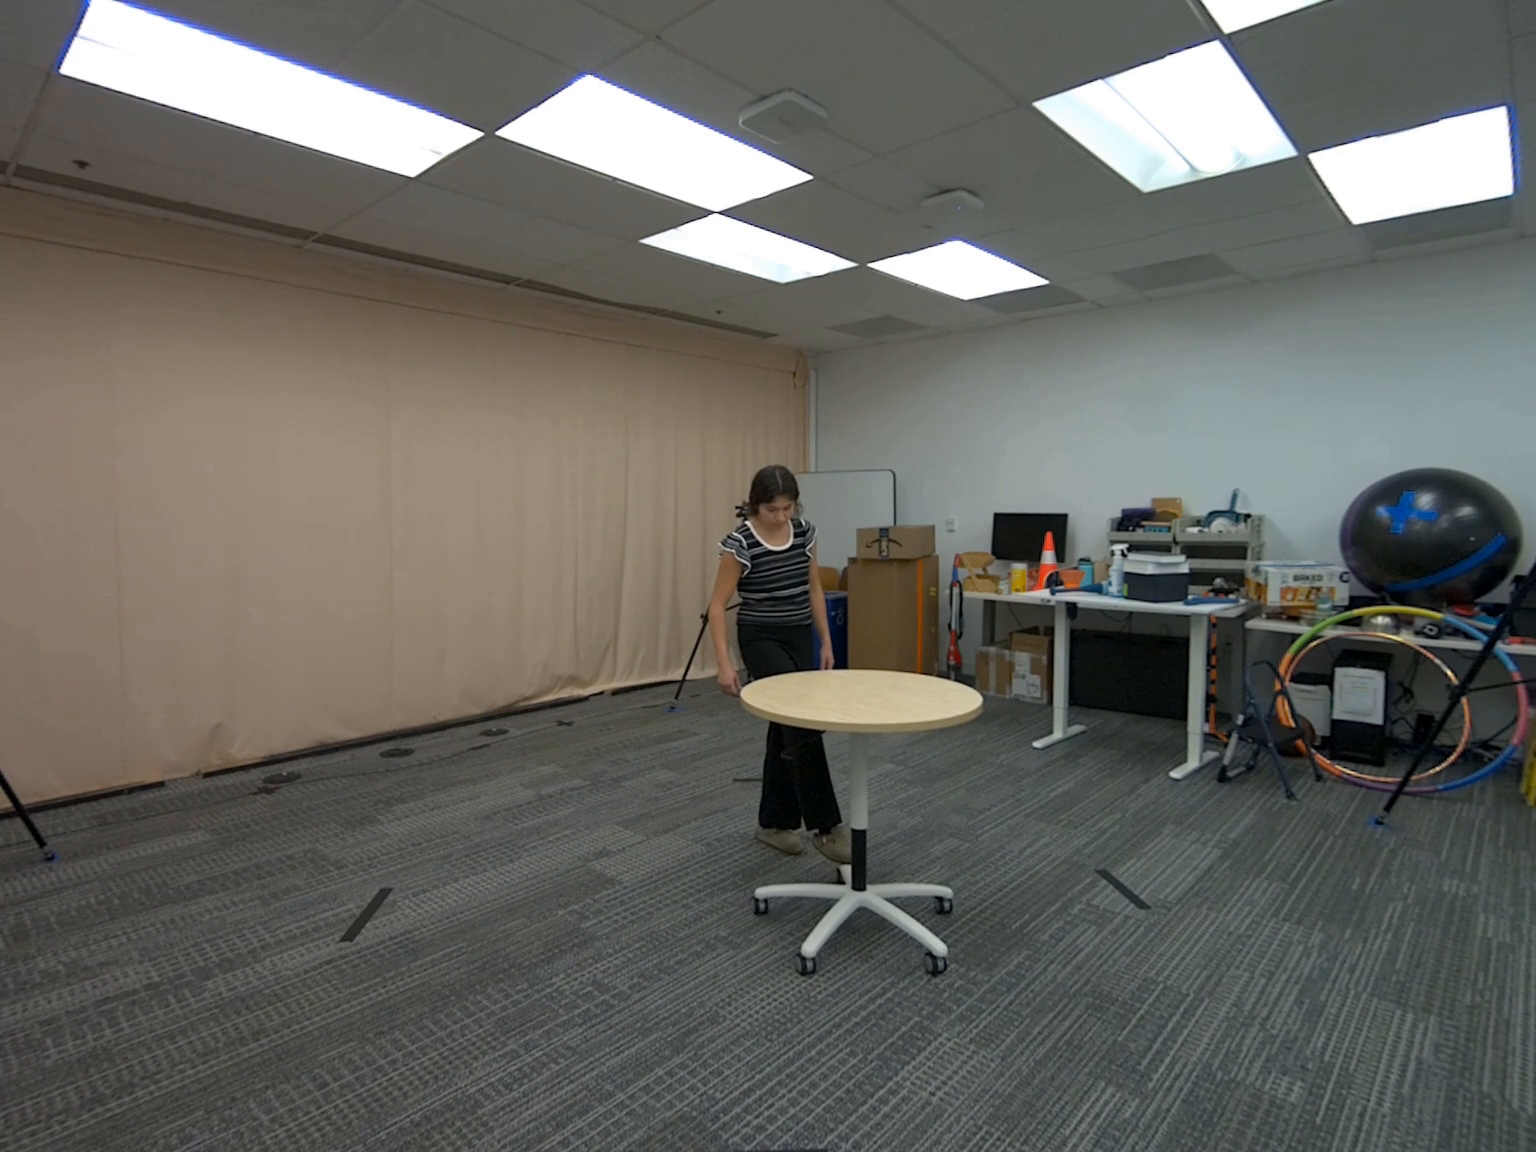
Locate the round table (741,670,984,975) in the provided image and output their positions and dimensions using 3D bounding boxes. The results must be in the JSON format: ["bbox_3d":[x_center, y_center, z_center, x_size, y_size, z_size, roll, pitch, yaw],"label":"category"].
[{"bbox_3d":[0.314,0.769,2.744,0.784,0.784,0.788,-1,4,-2],"label":"round table"}]
